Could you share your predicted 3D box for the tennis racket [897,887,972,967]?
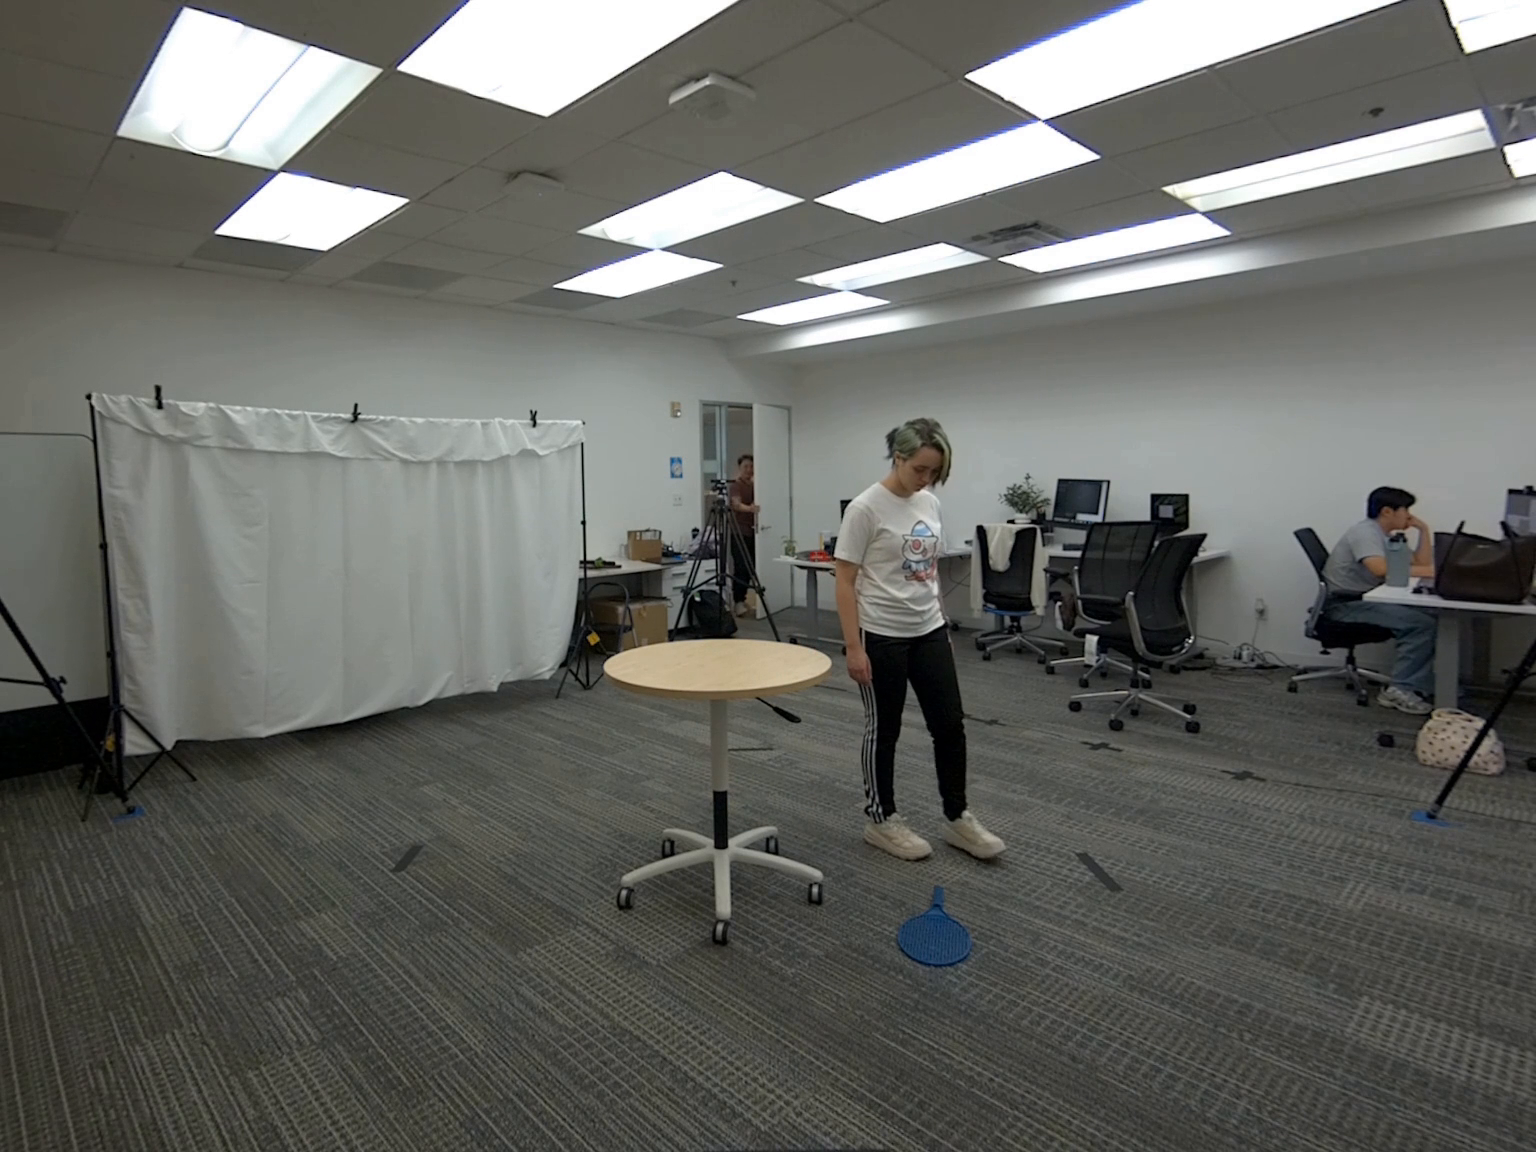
[{"bbox_3d":[0.517,1.073,2.641,0.217,0.031,0.429,-1,8,14],"label":"tennis racket"}]
